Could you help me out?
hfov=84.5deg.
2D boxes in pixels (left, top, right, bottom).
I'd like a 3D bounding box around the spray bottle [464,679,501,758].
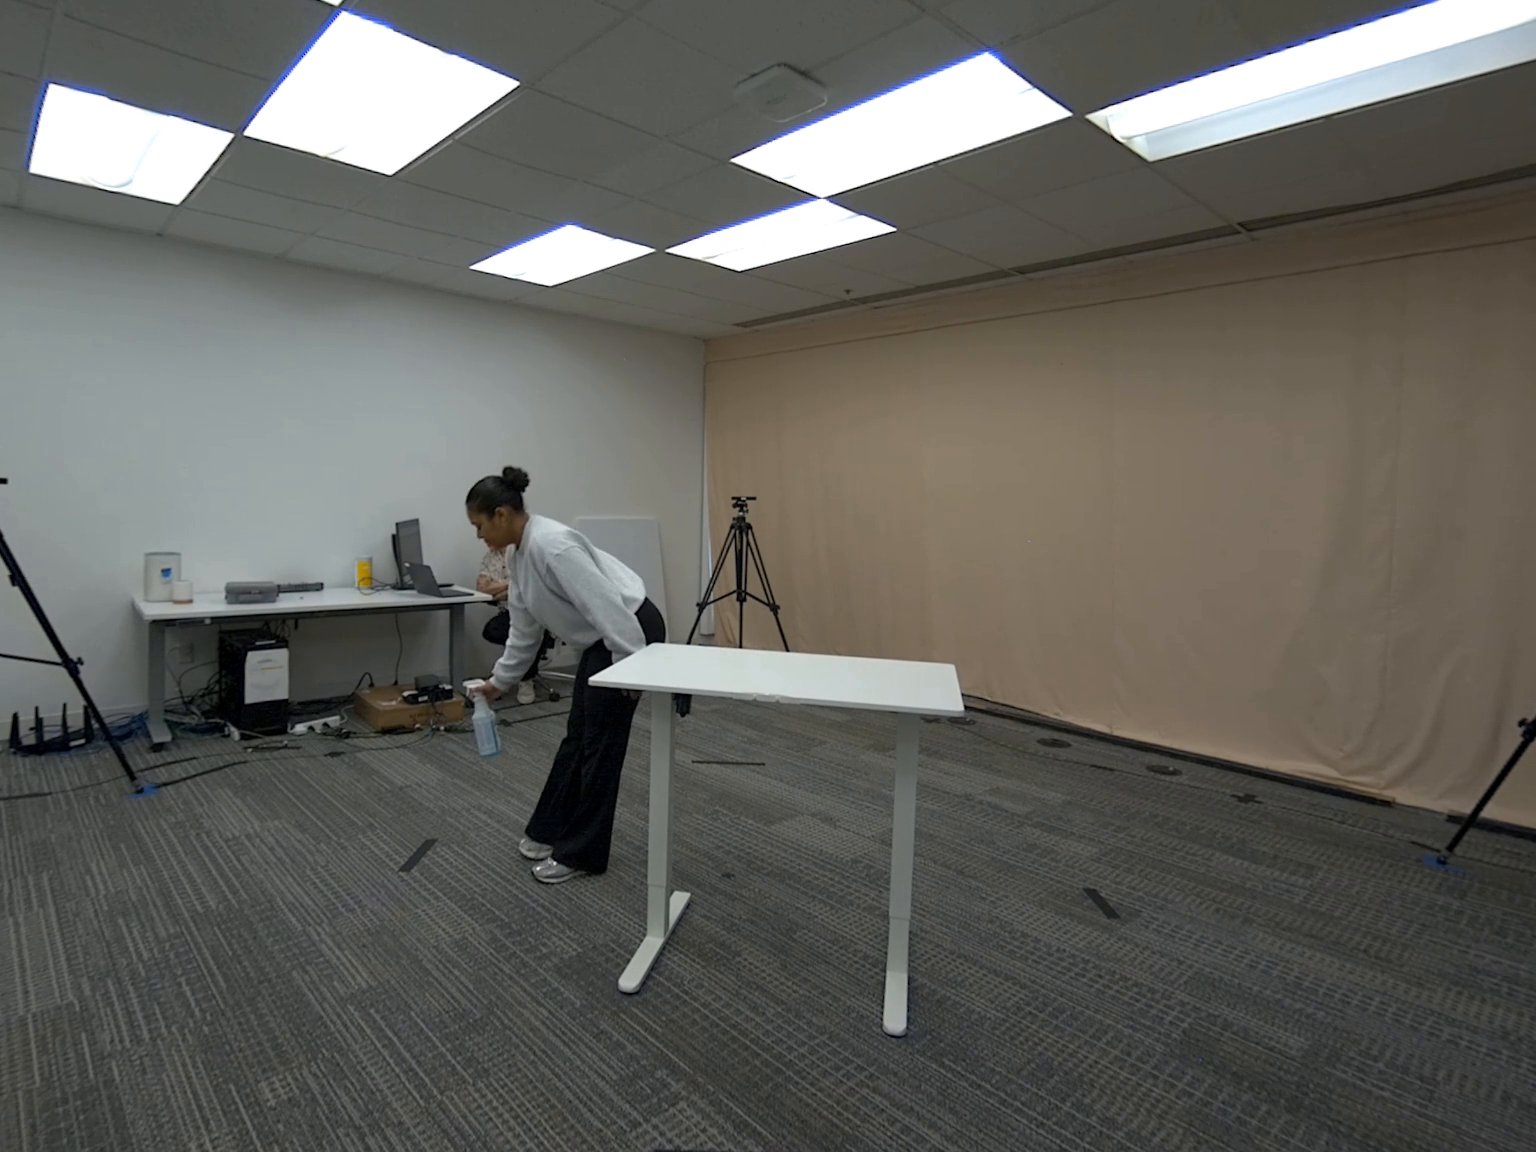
[{"bbox_3d":[-1.098,0.548,3.239,0.091,0.297,0.085,-13,0,32],"label":"spray bottle"}]
